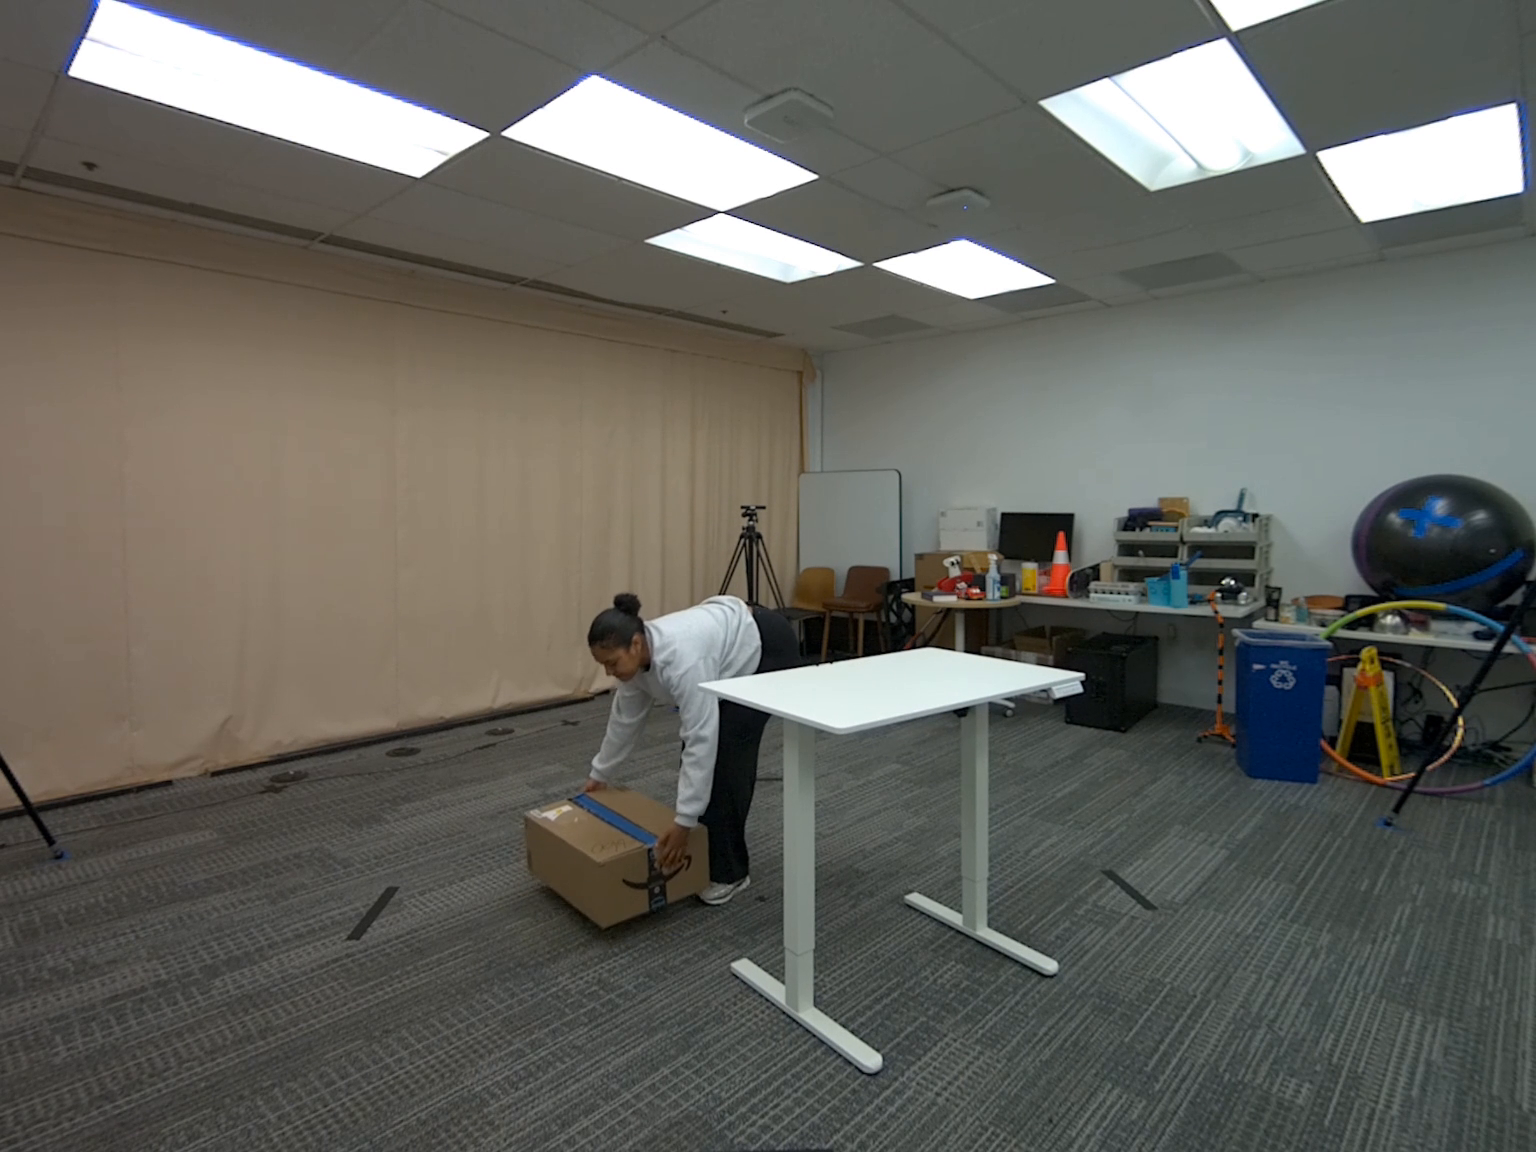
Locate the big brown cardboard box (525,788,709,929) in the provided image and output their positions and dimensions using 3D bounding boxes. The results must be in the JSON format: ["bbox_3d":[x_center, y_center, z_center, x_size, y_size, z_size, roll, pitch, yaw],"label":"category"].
[{"bbox_3d":[-0.541,0.939,2.961,0.405,0.232,0.608,-7,8,-39],"label":"big brown cardboard box"}]
